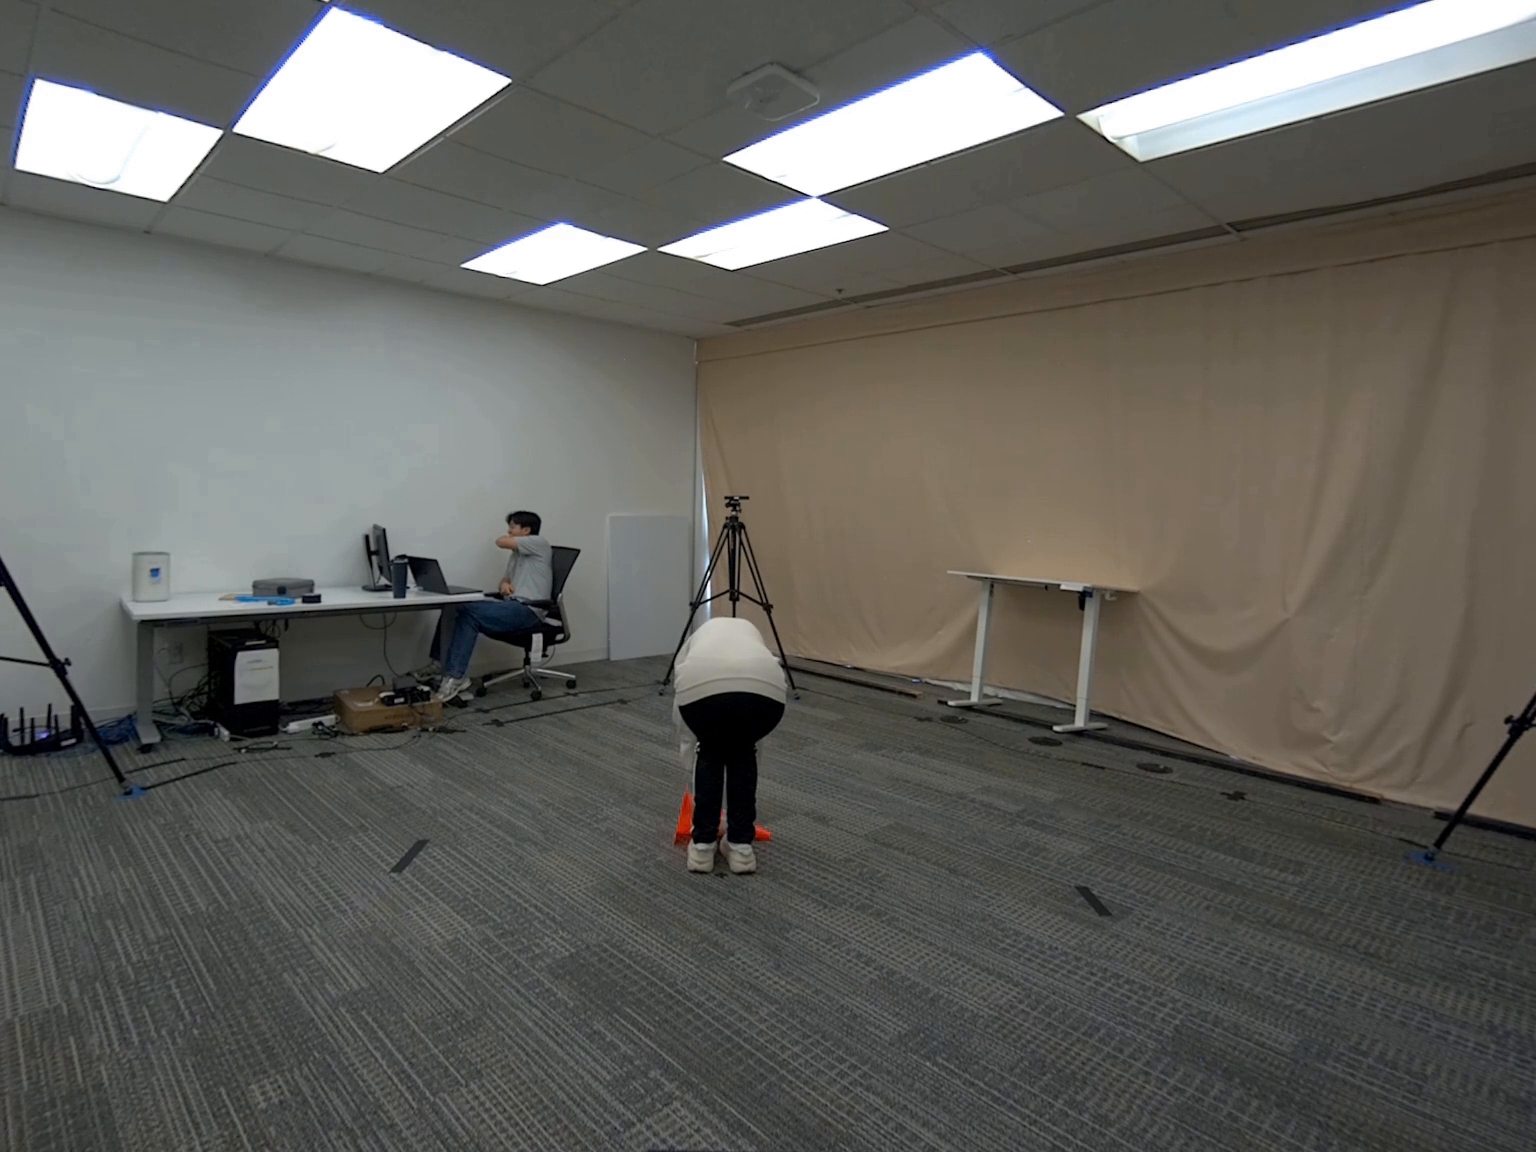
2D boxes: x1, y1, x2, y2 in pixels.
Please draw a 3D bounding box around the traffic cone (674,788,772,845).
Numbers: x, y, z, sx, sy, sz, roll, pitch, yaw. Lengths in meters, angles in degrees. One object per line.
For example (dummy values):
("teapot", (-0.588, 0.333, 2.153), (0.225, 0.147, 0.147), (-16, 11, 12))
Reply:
("traffic cone", (-0.184, 1.017, 3.456), (0.383, 0.203, 0.206), (13, 5, -3))
